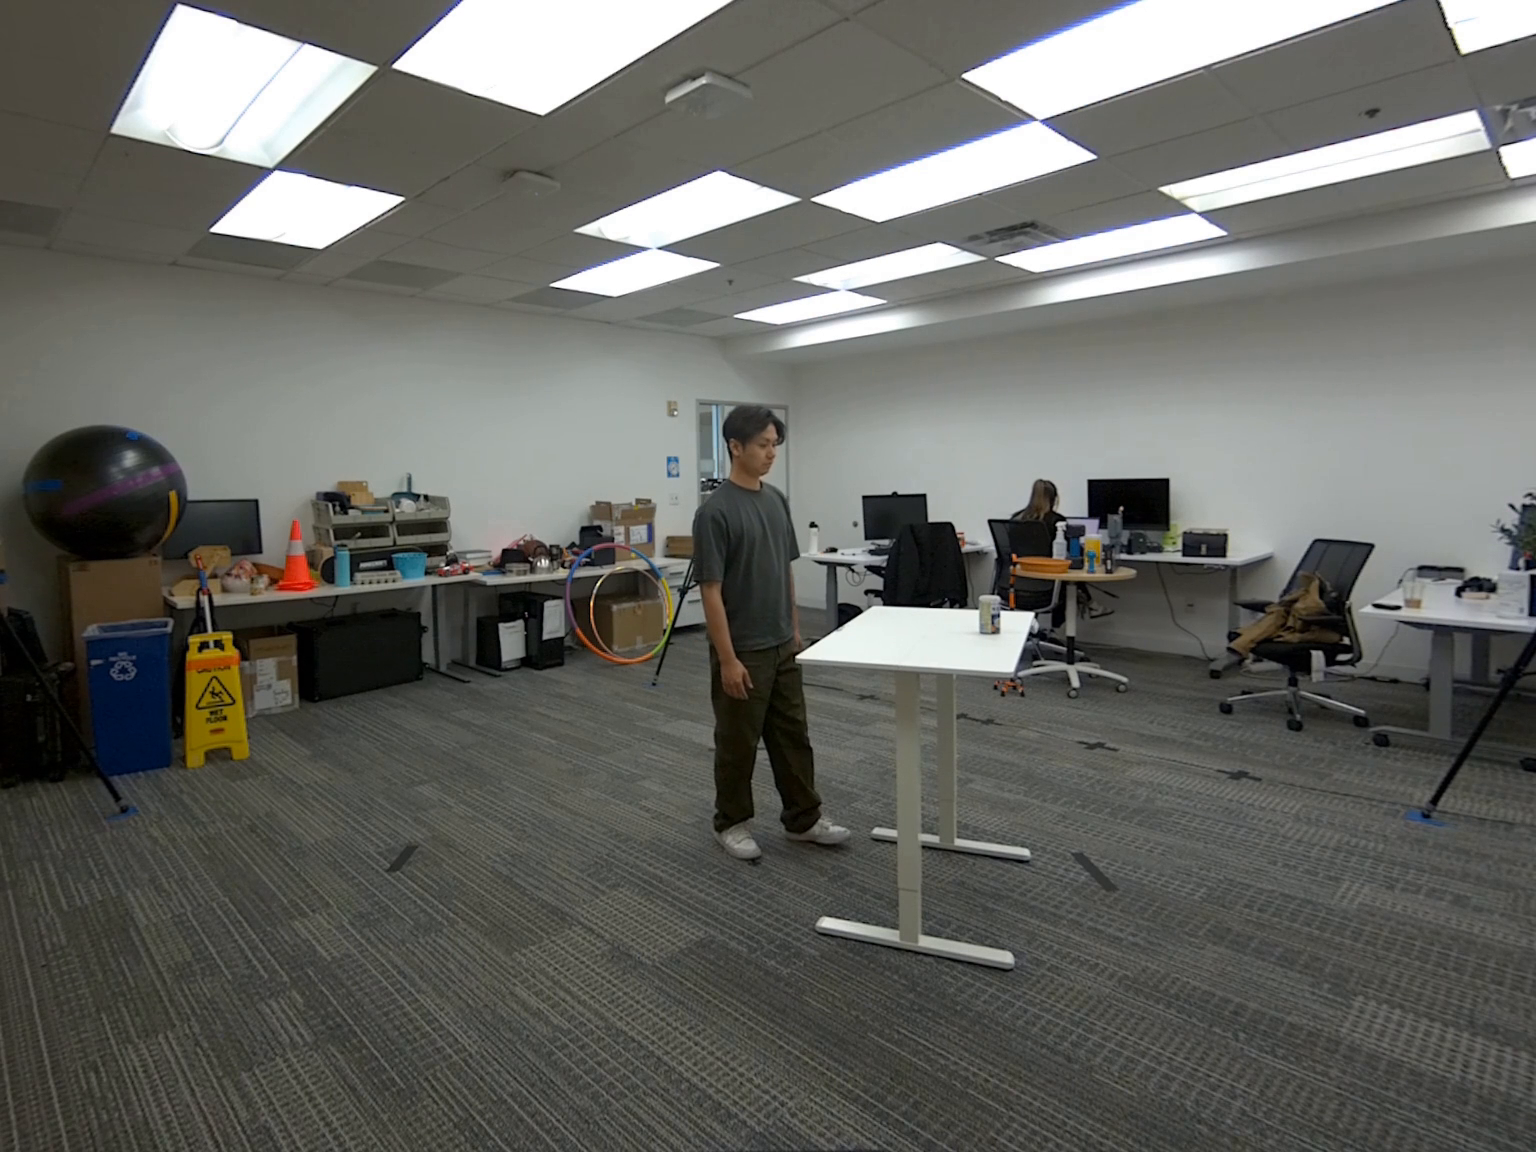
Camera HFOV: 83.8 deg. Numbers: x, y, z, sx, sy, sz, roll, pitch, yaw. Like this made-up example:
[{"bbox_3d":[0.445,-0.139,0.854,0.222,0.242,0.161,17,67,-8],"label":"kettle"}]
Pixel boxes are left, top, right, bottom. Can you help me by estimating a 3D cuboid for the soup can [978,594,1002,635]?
[{"bbox_3d":[0.720,0.128,2.772,0.067,0.121,0.067,2,4,-2],"label":"soup can"}]
